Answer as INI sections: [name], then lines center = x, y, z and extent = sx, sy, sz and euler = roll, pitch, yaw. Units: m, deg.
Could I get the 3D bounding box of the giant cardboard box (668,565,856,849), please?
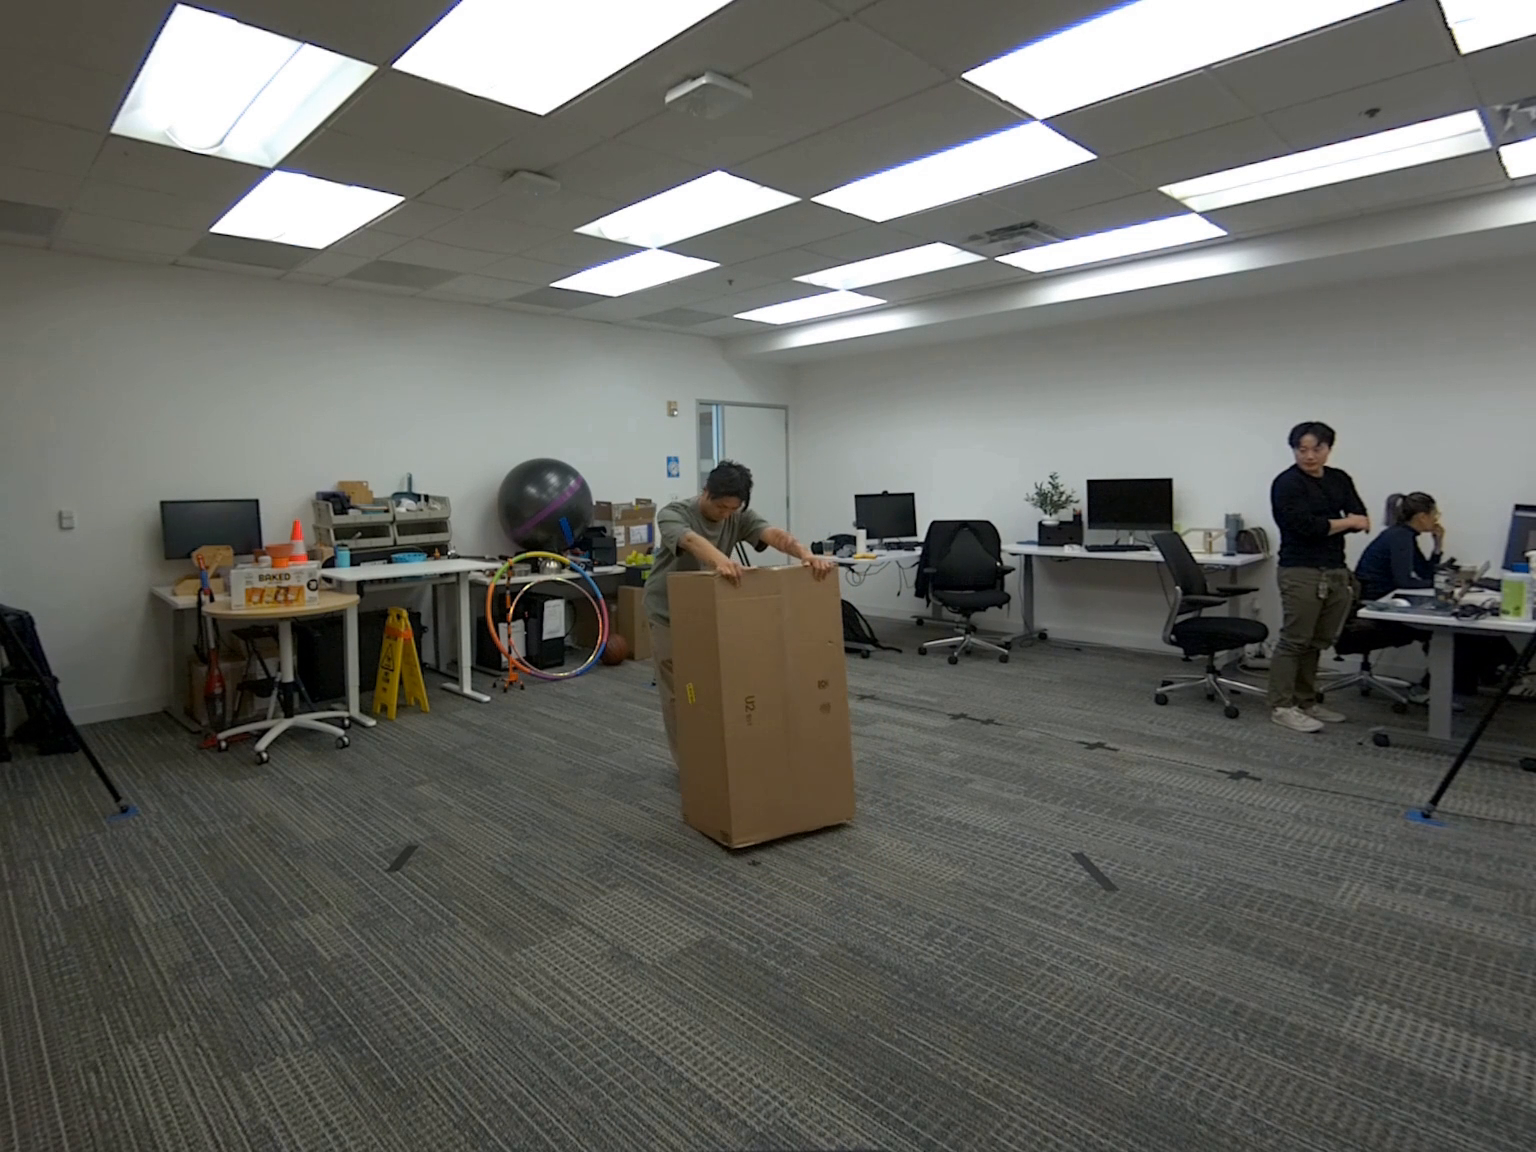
[giant cardboard box]
center = -0.031, 0.478, 3.469
extent = 0.564, 1.027, 0.436
euler = -4, -1, -30
